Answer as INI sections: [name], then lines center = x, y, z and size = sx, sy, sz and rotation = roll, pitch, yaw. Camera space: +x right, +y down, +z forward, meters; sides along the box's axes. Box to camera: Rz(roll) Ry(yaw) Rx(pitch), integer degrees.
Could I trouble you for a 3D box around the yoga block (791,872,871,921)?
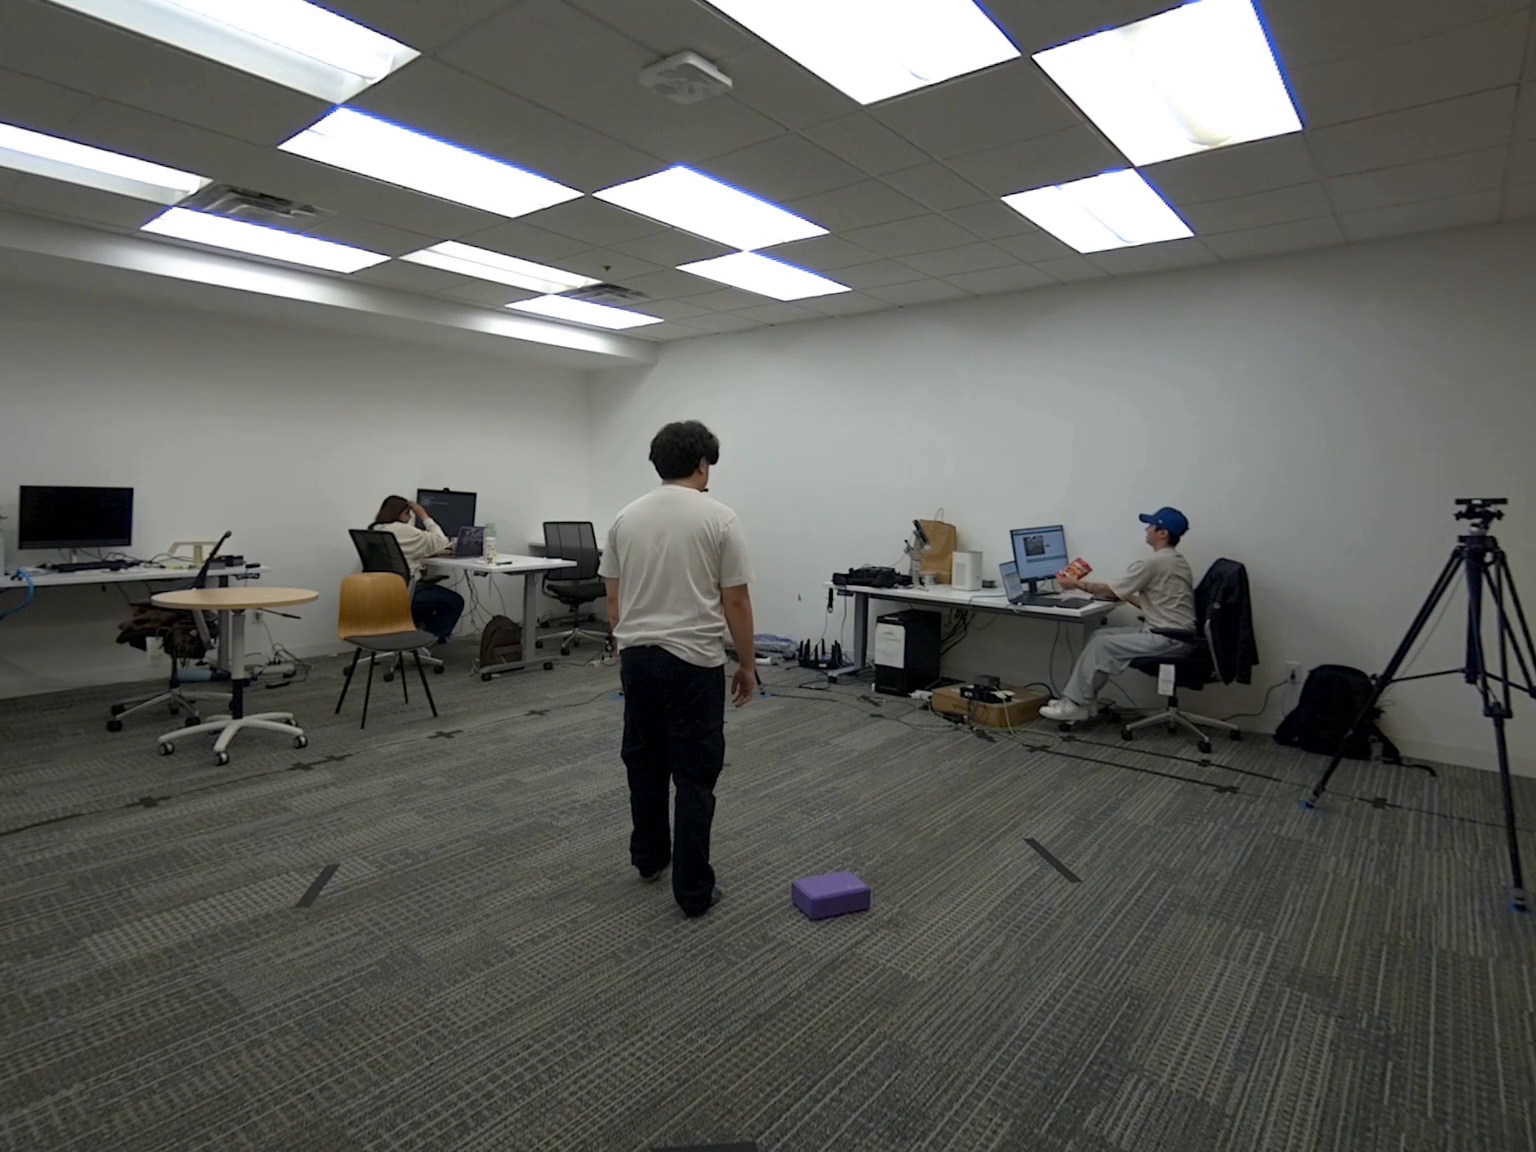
[yoga block]
center = 0.204, 1.067, 2.848
size = 0.224, 0.076, 0.153
rotation = 0, 4, -24
